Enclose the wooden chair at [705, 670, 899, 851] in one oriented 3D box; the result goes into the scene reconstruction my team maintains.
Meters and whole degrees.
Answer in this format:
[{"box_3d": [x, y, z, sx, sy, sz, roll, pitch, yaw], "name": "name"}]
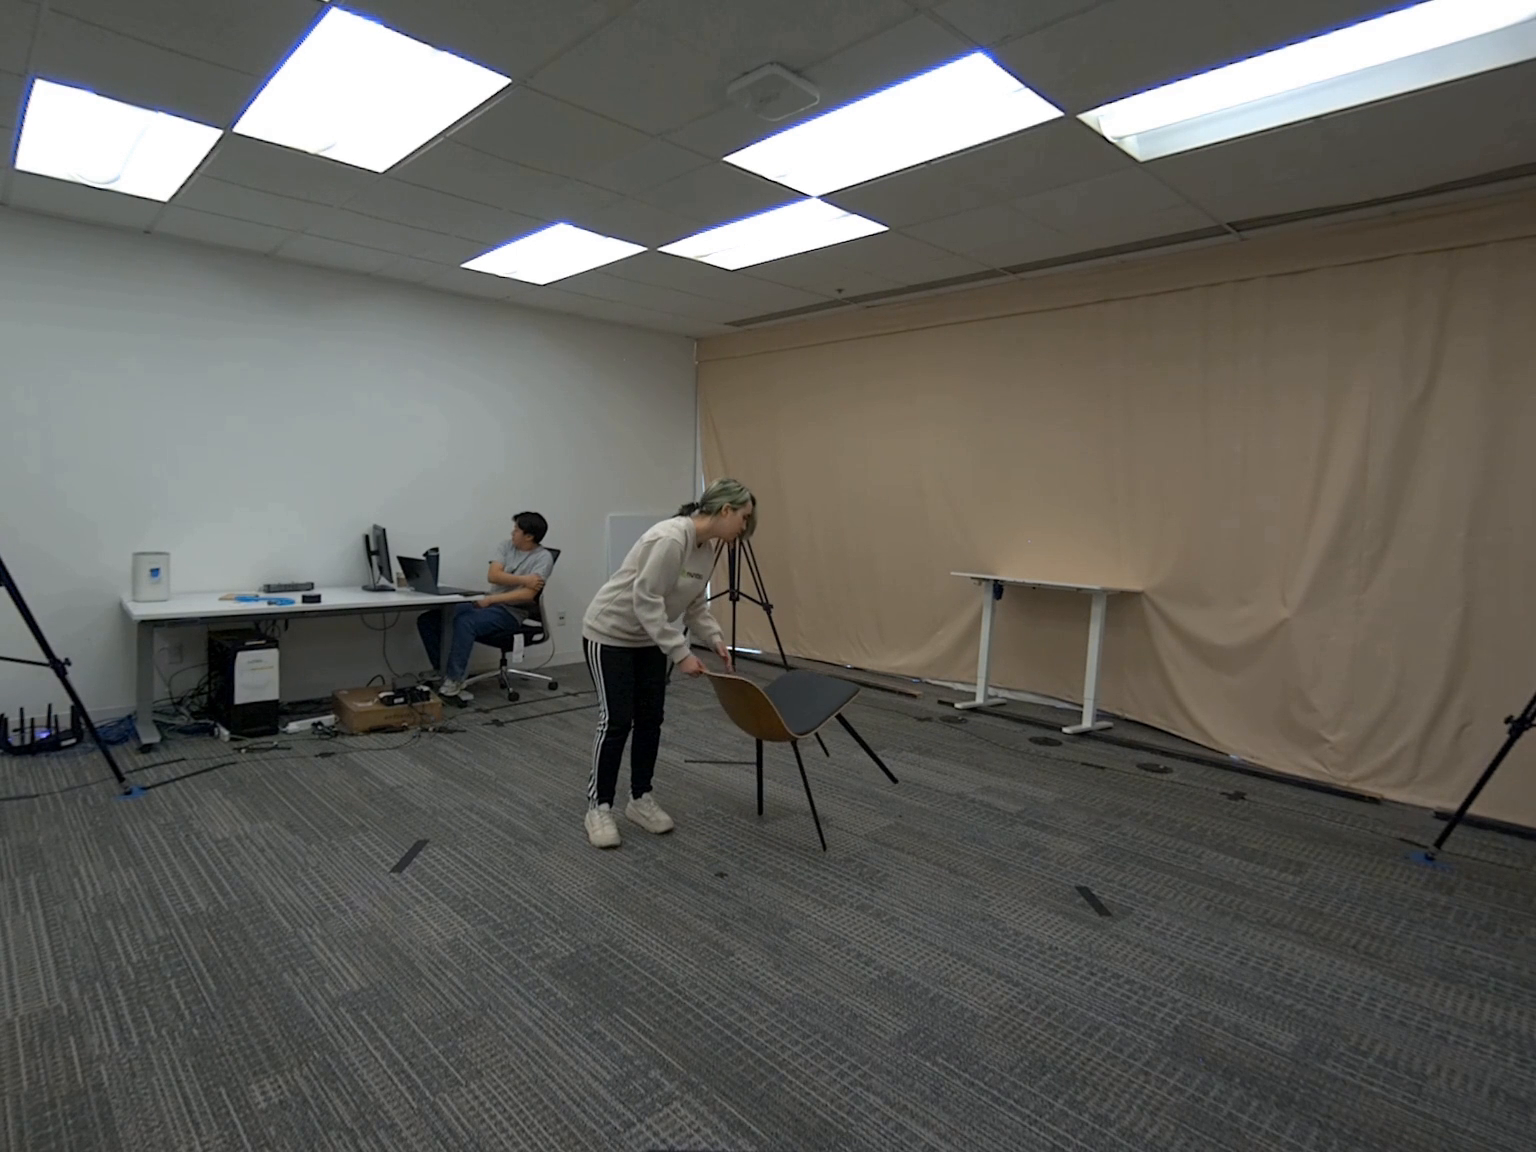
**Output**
[{"box_3d": [0.102, 0.587, 3.496, 0.521, 0.860, 0.489, -38, 23, -28], "name": "wooden chair"}]
